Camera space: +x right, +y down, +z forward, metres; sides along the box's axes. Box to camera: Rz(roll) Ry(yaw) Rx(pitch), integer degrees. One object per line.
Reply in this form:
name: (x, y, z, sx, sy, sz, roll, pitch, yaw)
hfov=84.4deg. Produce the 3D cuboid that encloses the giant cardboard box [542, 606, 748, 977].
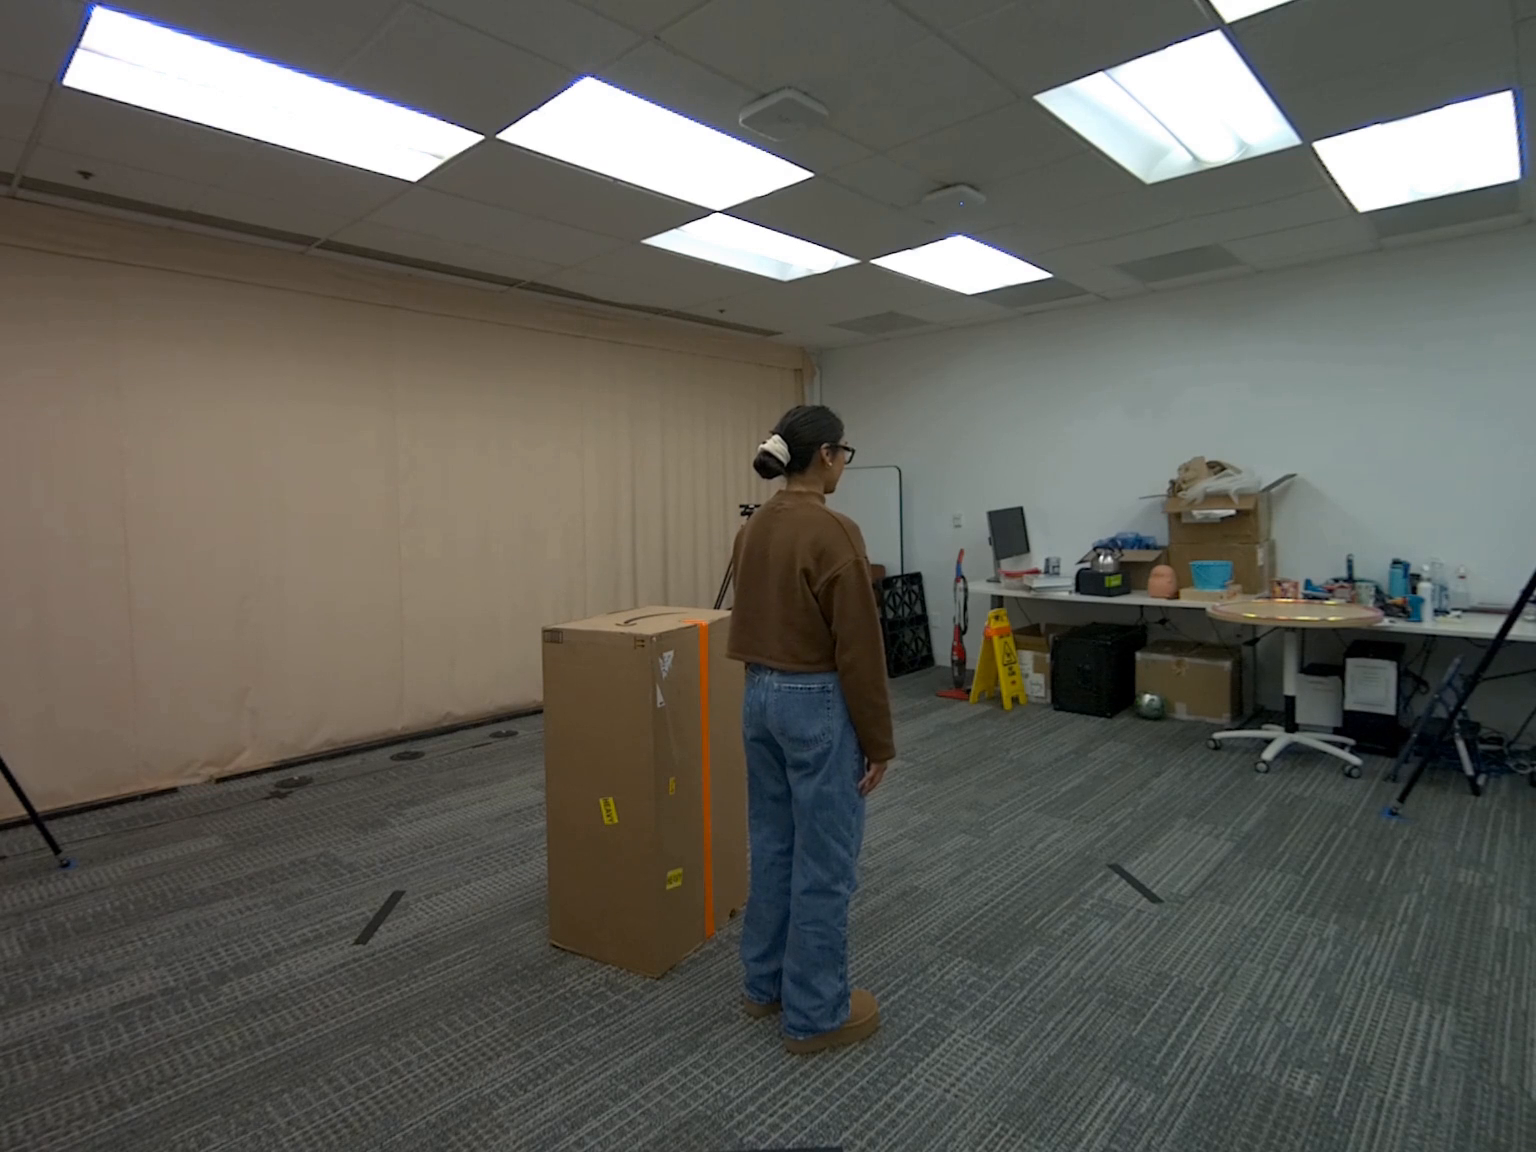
giant cardboard box: (-0.389, 0.655, 2.803, 0.438, 1.024, 0.563, 1, 3, 28)
